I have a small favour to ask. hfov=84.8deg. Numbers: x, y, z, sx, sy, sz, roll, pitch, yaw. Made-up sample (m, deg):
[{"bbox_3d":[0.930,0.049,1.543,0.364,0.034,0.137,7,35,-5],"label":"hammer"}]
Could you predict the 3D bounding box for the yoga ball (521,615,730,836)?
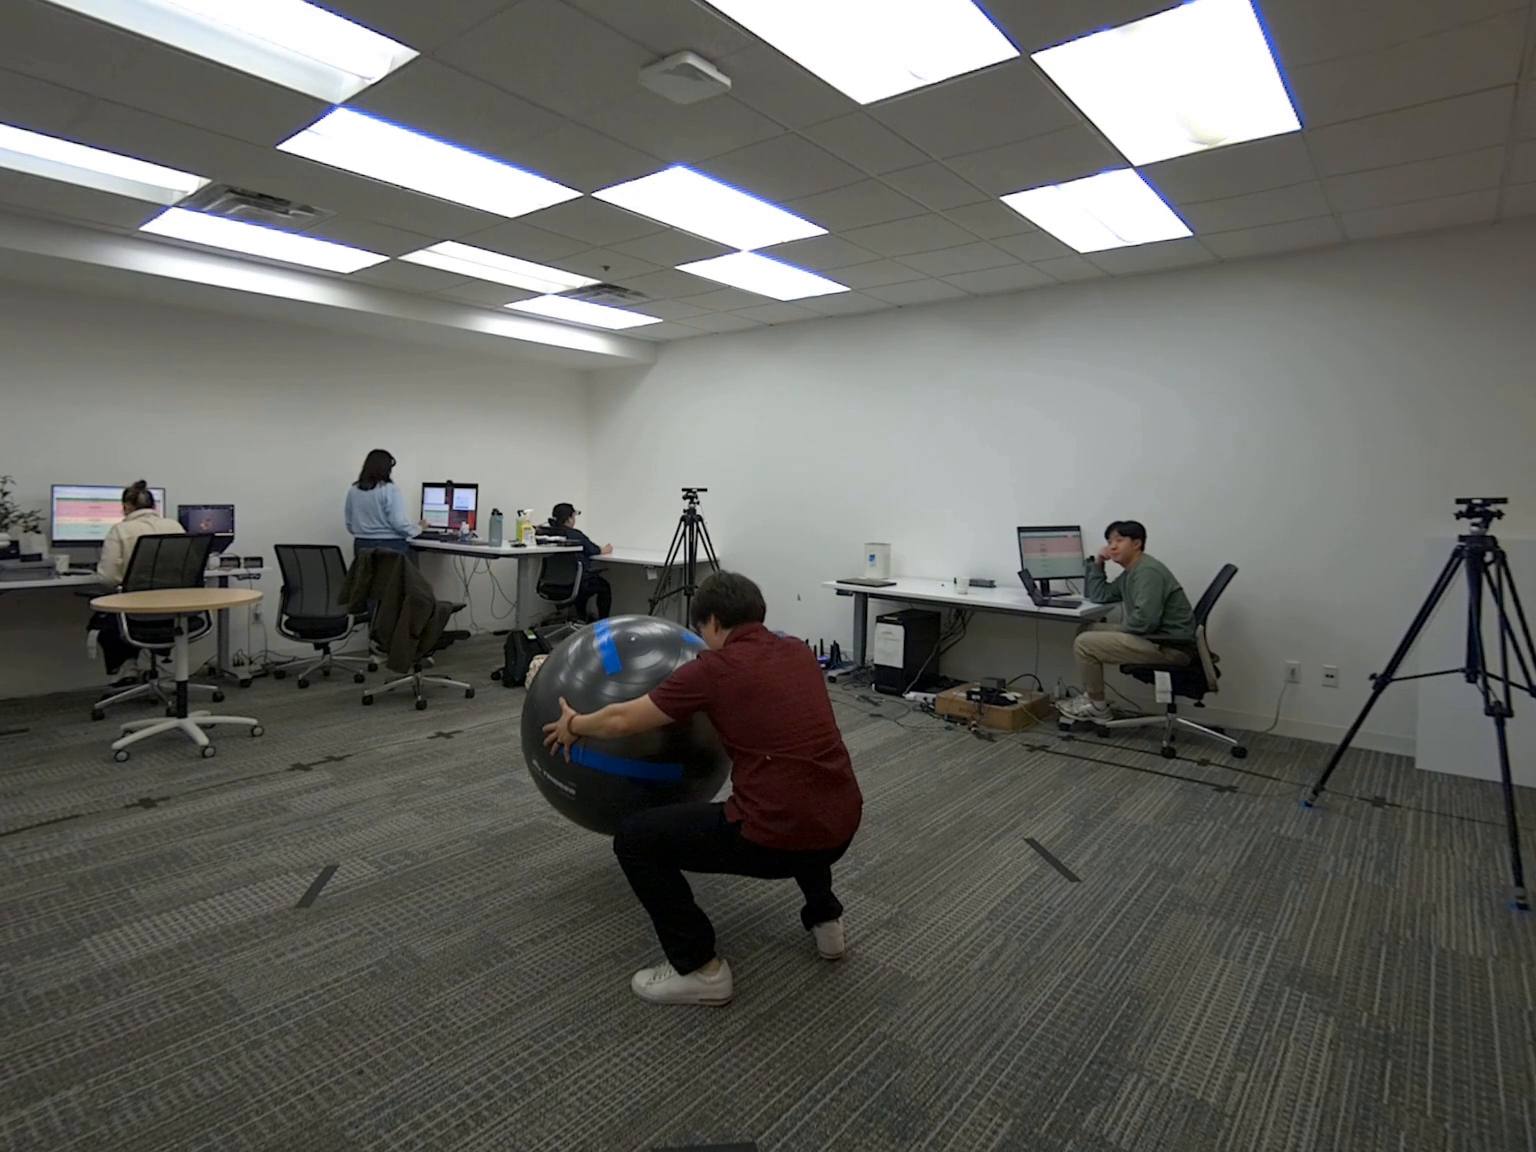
[{"bbox_3d":[-0.493,0.517,2.975,0.757,0.756,0.762,1,4,-2],"label":"yoga ball"}]
